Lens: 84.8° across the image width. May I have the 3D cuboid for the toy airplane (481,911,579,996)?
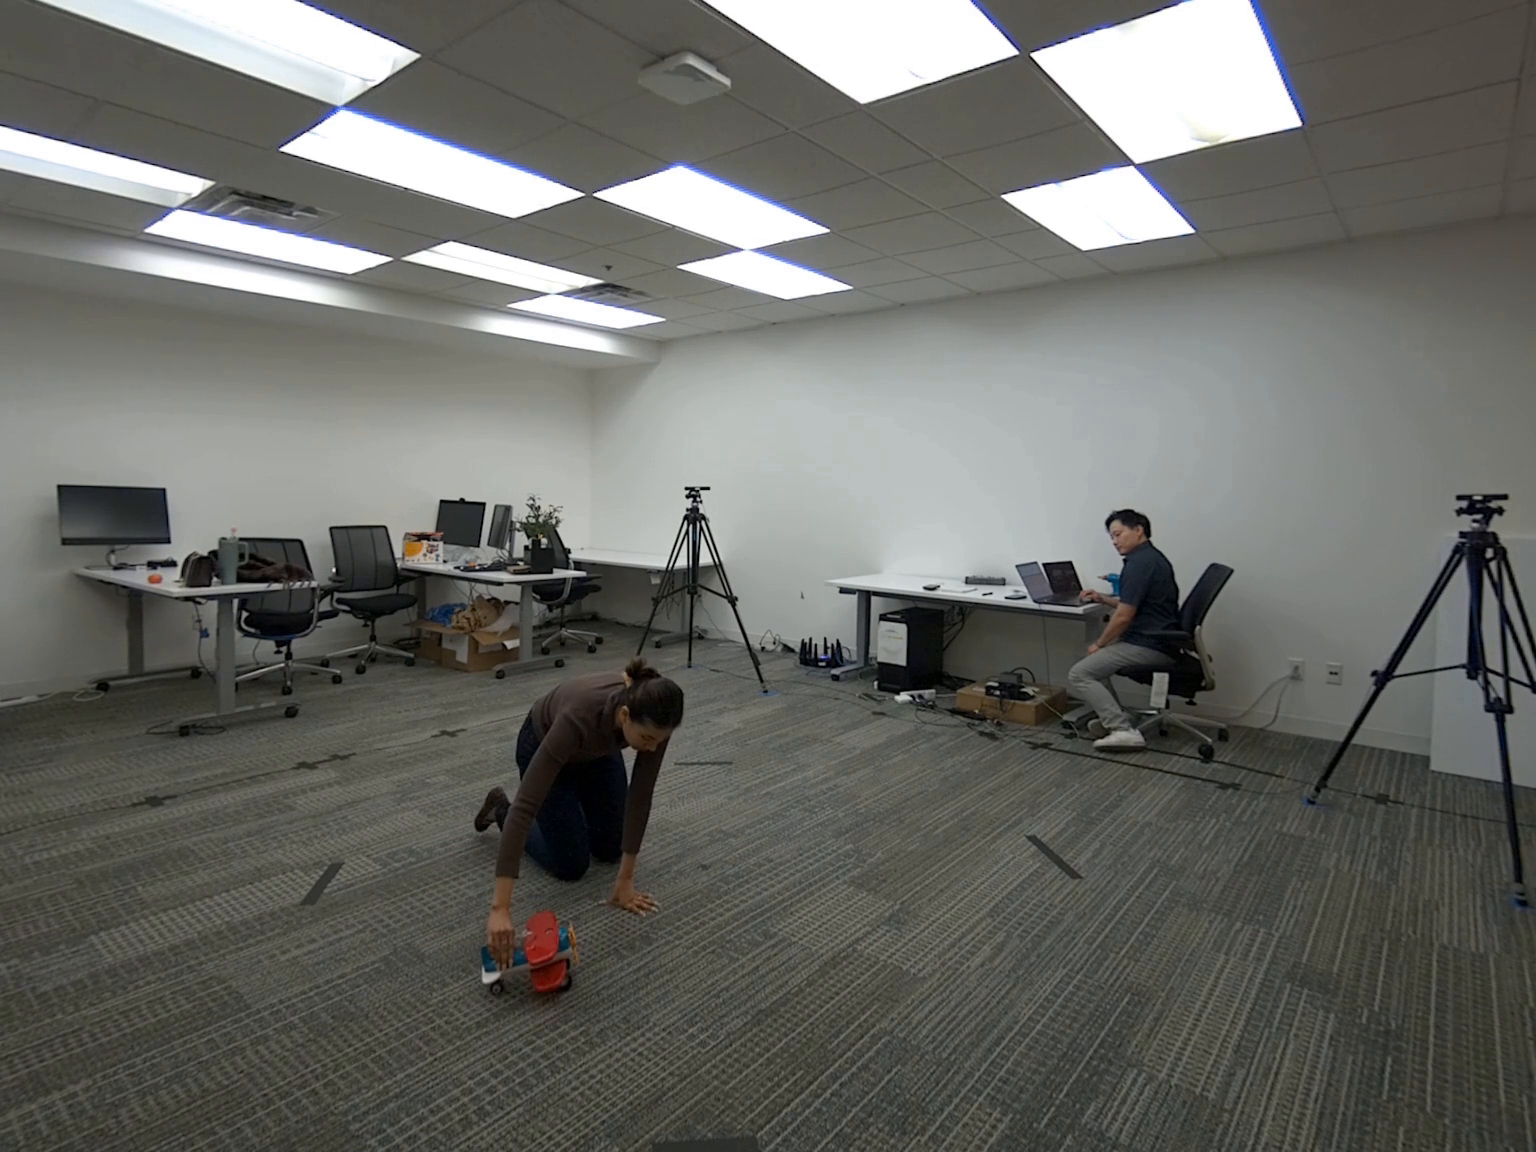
[{"bbox_3d":[-0.663,1.066,2.345,0.260,0.156,0.251,5,7,44],"label":"toy airplane"}]
